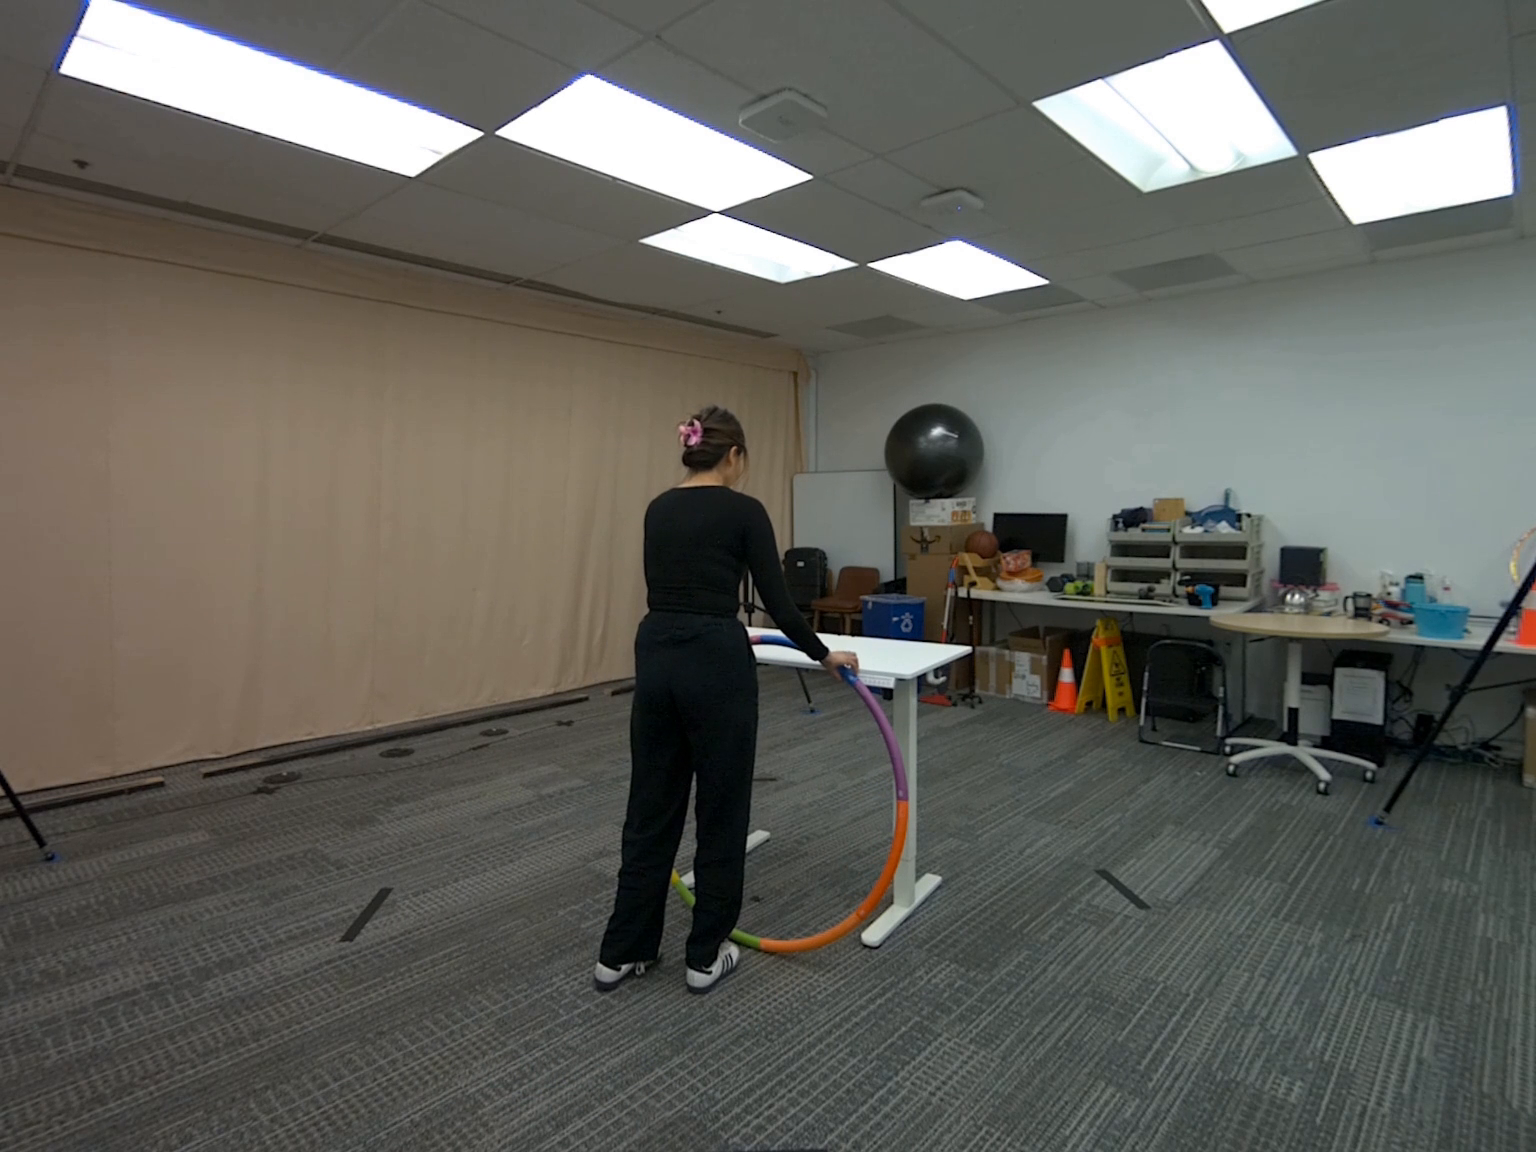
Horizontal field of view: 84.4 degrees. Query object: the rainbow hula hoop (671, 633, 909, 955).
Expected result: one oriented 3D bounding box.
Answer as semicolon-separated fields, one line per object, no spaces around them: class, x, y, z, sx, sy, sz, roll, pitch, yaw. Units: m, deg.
rainbow hula hoop;-0.015;0.683;2.716;1.009;0.982;0.034;3;-8;35
